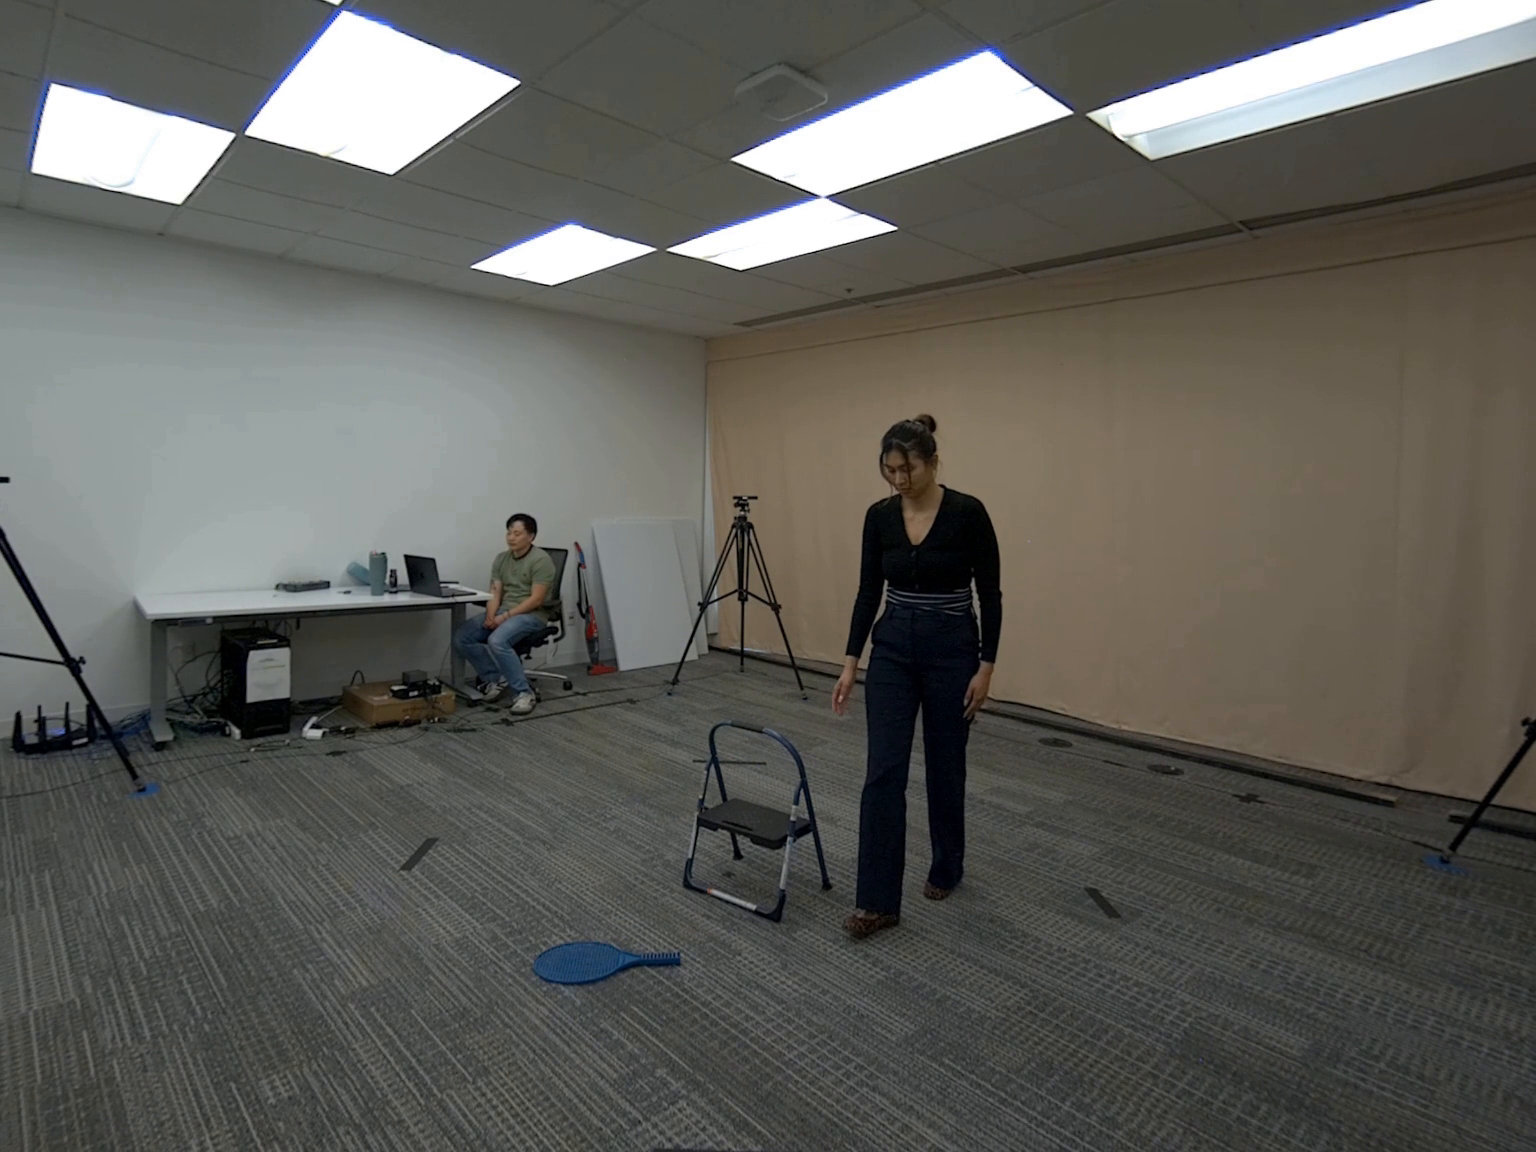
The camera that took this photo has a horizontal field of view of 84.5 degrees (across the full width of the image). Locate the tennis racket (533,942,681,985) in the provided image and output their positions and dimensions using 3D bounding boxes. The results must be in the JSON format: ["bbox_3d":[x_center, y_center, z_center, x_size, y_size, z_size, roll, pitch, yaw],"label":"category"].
[{"bbox_3d":[-0.480,1.135,2.493,0.431,0.031,0.215,-1,6,-5],"label":"tennis racket"}]
